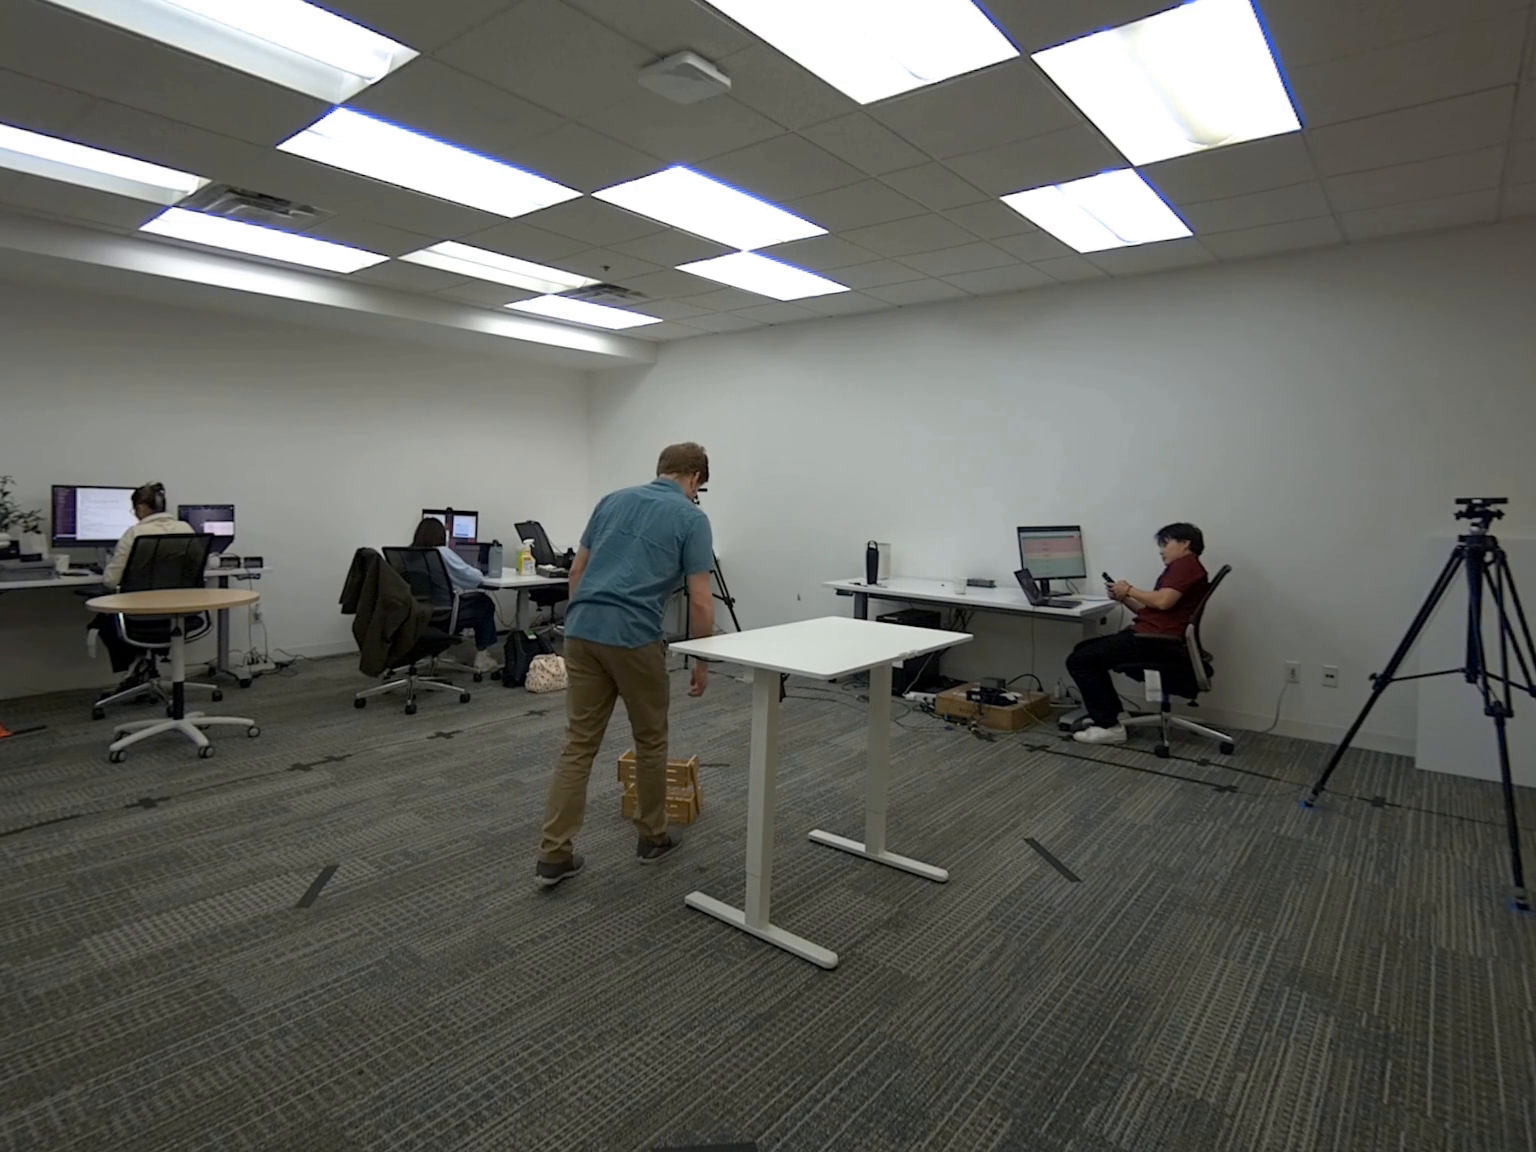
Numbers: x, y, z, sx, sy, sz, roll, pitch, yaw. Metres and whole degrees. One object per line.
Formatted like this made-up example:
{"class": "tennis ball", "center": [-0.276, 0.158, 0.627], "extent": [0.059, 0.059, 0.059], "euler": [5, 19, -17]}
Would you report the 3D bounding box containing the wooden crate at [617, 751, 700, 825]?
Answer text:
{"class": "wooden crate", "center": [-0.468, 0.878, 3.657], "extent": [0.329, 0.272, 0.299], "euler": [2, 5, 11]}
